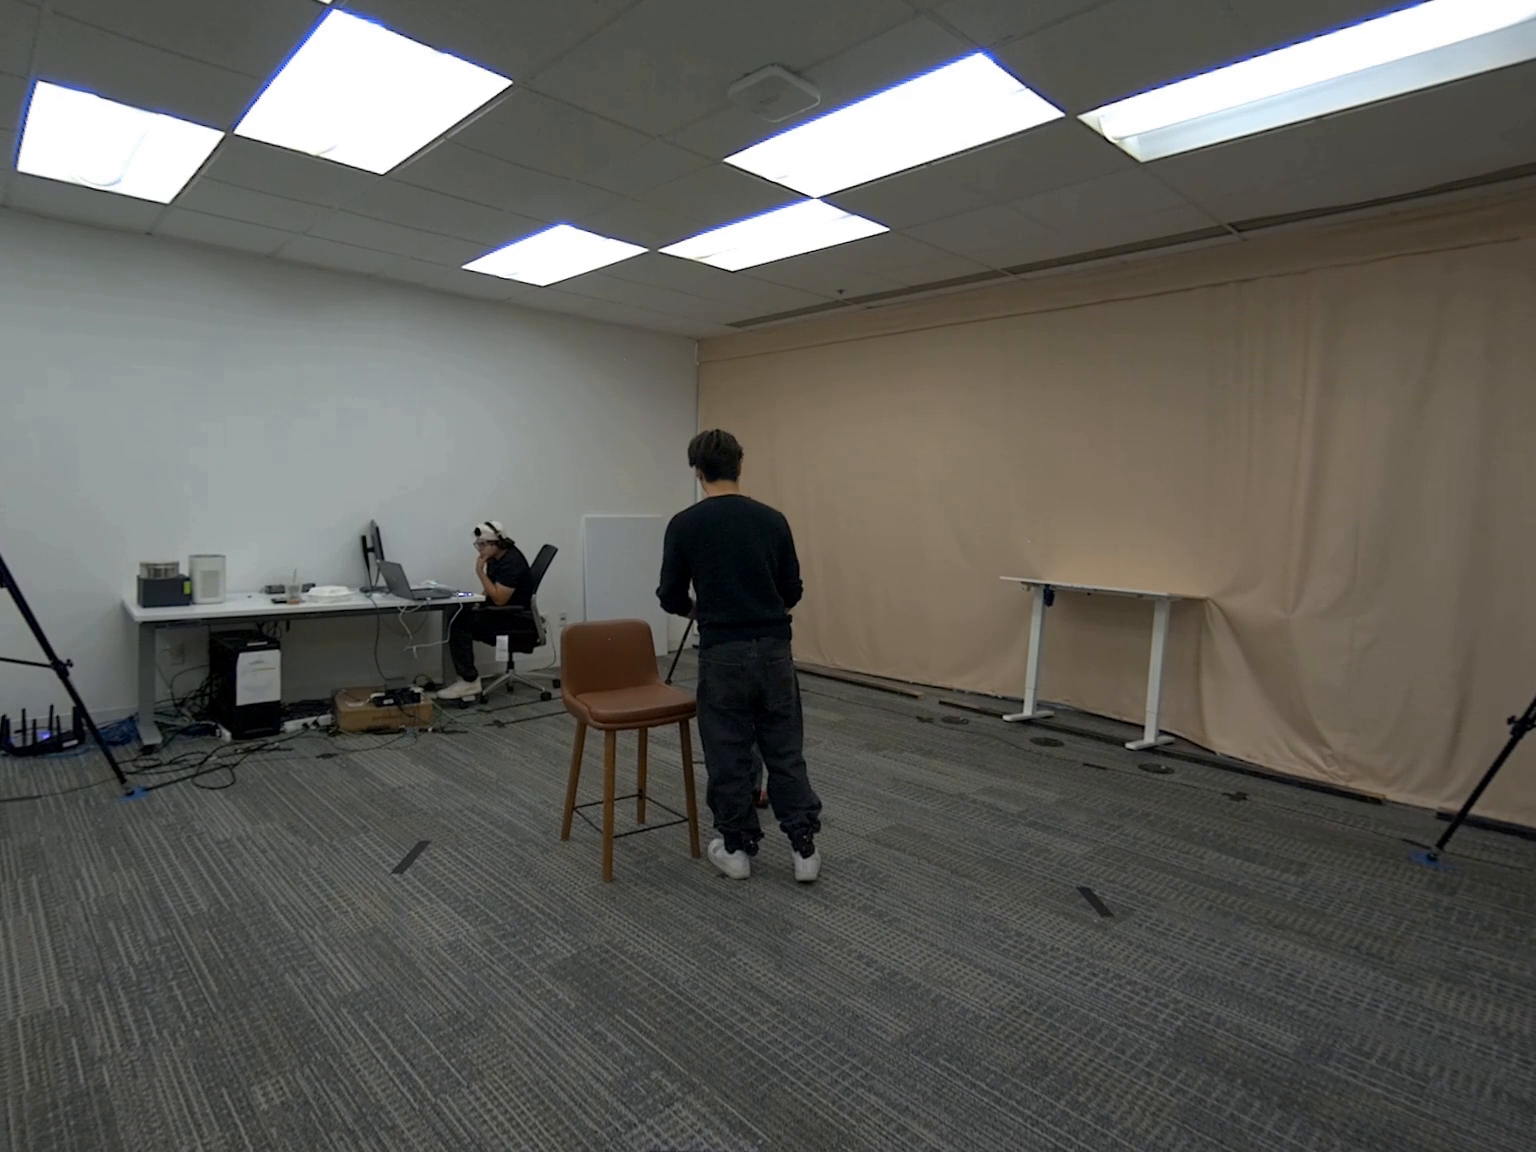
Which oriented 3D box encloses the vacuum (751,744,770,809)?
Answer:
[{"bbox_3d":[-0.093,0.627,3.579,0.254,1.025,0.146,2,36,8],"label":"vacuum"}]
